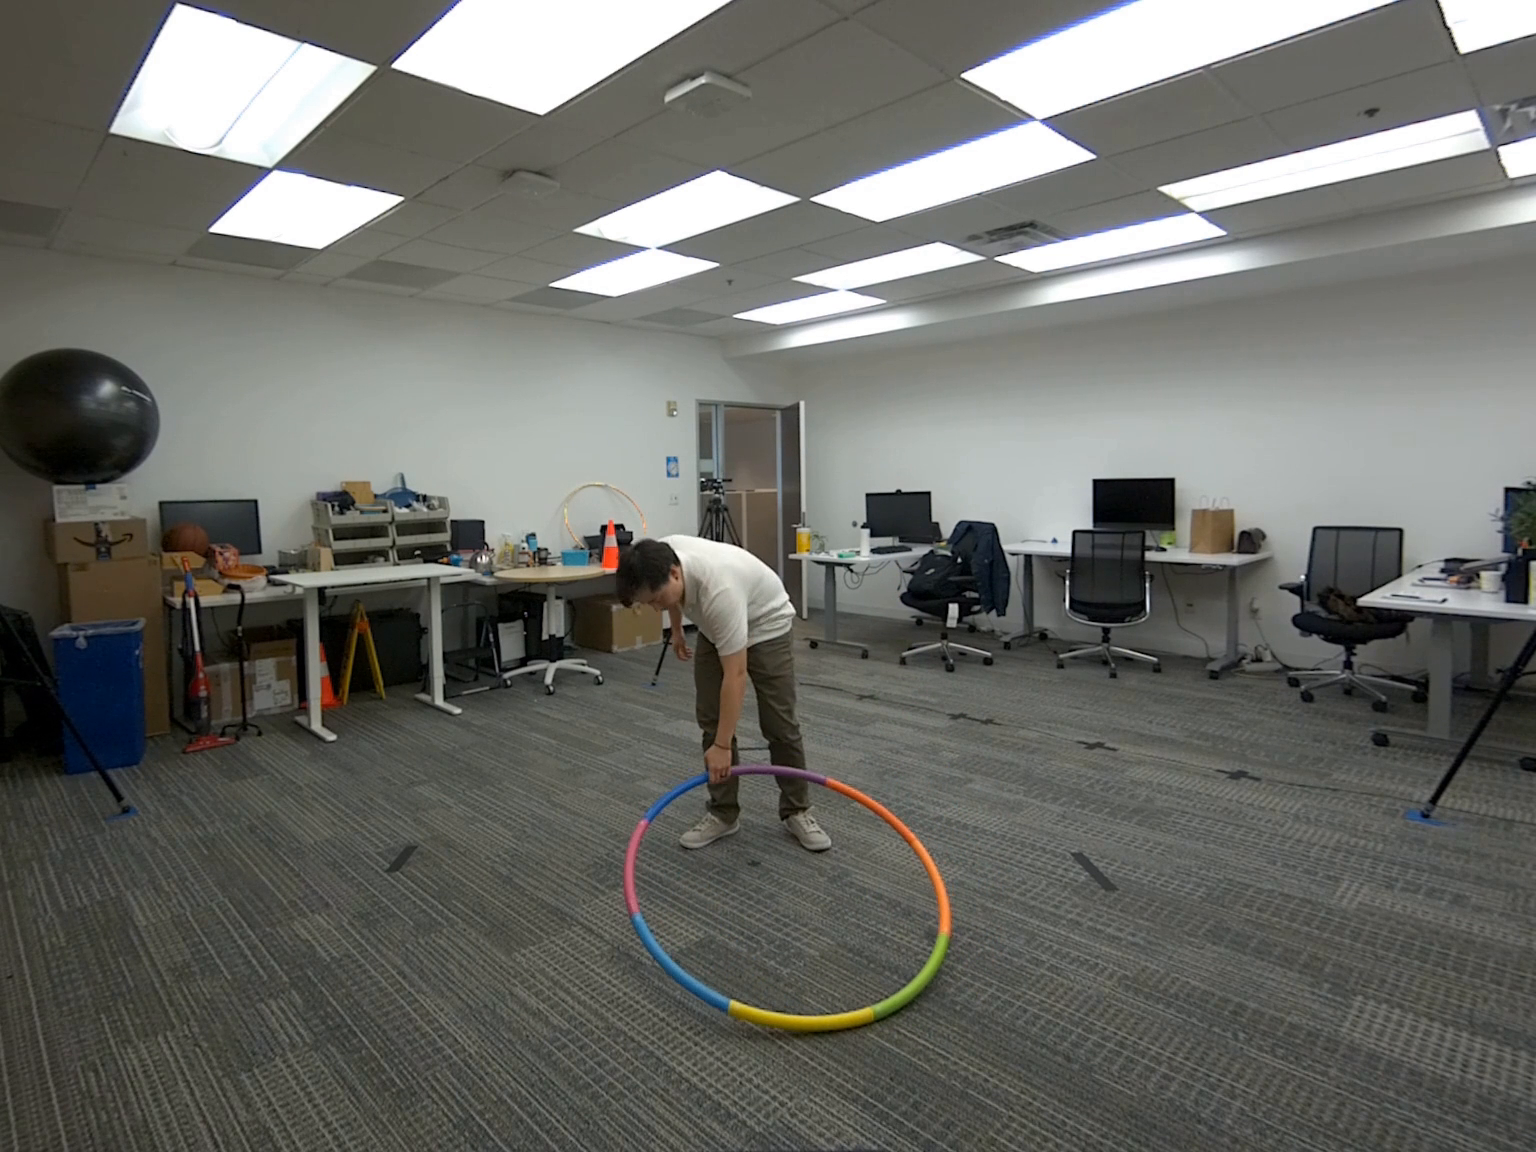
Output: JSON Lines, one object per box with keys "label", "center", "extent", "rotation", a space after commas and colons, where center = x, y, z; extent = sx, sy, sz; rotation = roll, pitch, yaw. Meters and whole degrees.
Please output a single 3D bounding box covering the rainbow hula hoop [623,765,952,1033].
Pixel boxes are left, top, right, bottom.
{"label": "rainbow hula hoop", "center": [0.060, 0.906, 2.582], "extent": [0.975, 0.035, 1.000], "rotation": [5, 26, -4]}
